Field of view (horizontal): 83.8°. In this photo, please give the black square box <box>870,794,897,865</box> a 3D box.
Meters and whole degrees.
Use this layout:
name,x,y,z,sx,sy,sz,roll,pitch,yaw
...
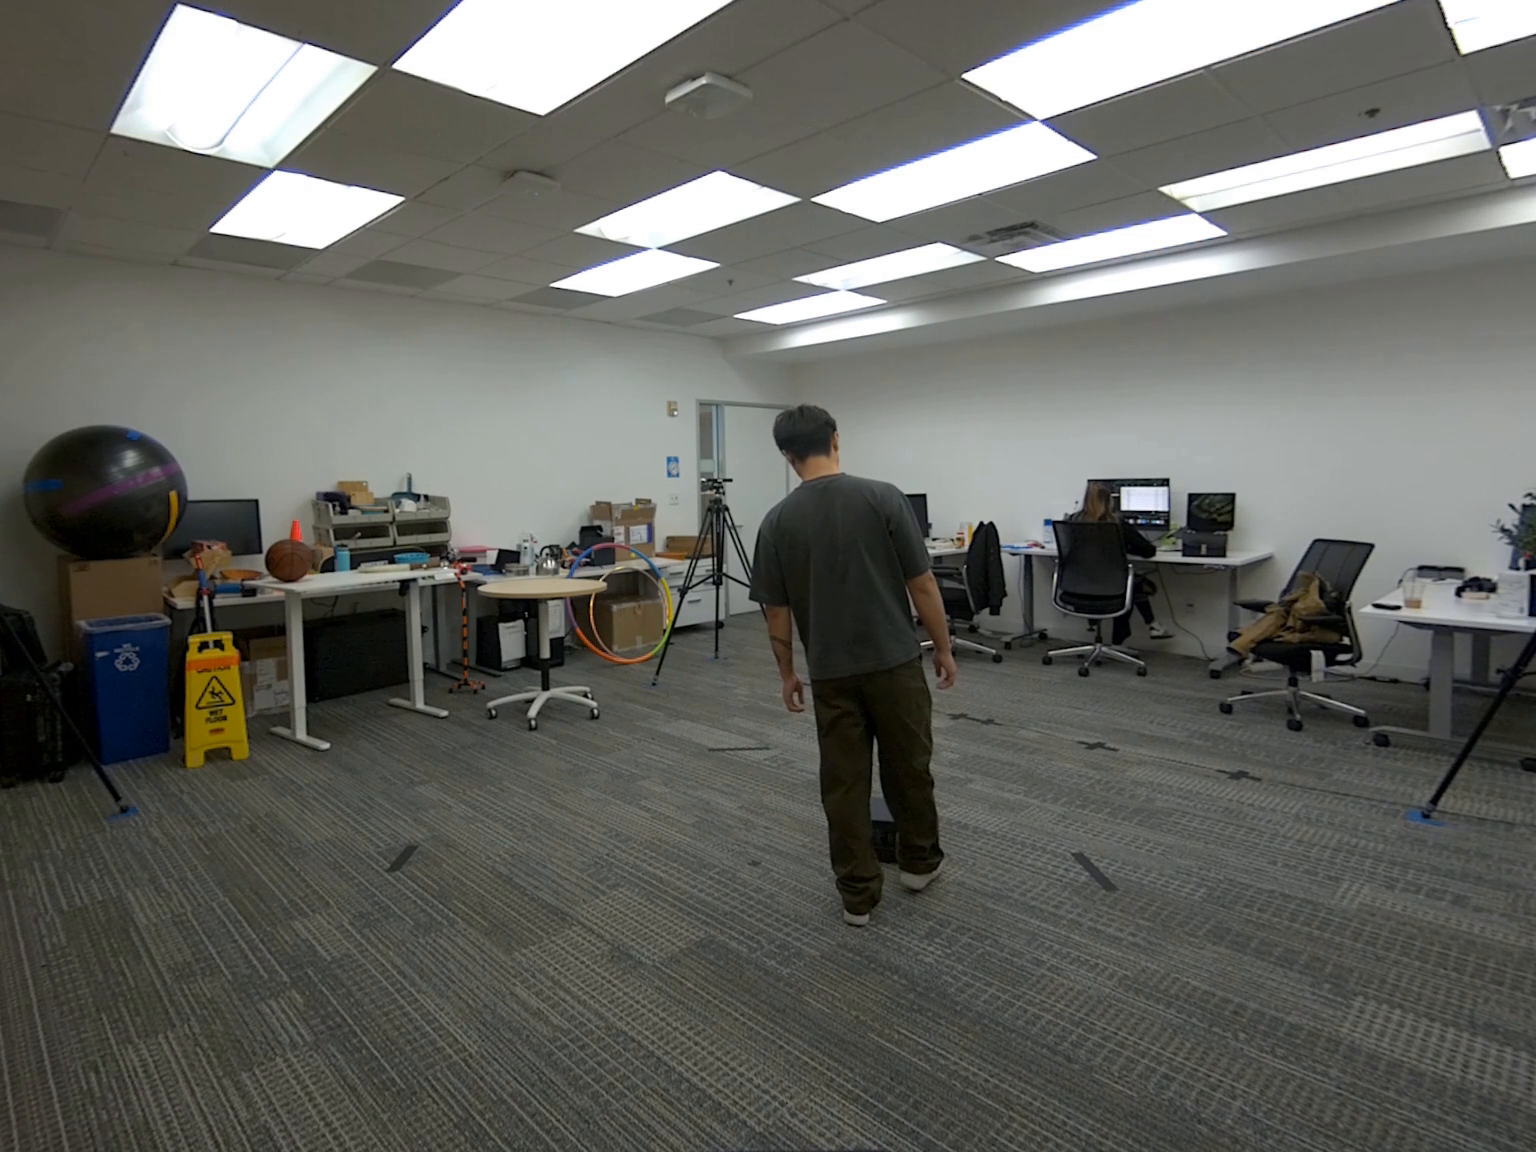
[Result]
name,x,y,z,sx,sy,sz,roll,pitch,yaw
black square box,0.459,0.944,3.190,0.219,0.155,0.226,-1,3,11
